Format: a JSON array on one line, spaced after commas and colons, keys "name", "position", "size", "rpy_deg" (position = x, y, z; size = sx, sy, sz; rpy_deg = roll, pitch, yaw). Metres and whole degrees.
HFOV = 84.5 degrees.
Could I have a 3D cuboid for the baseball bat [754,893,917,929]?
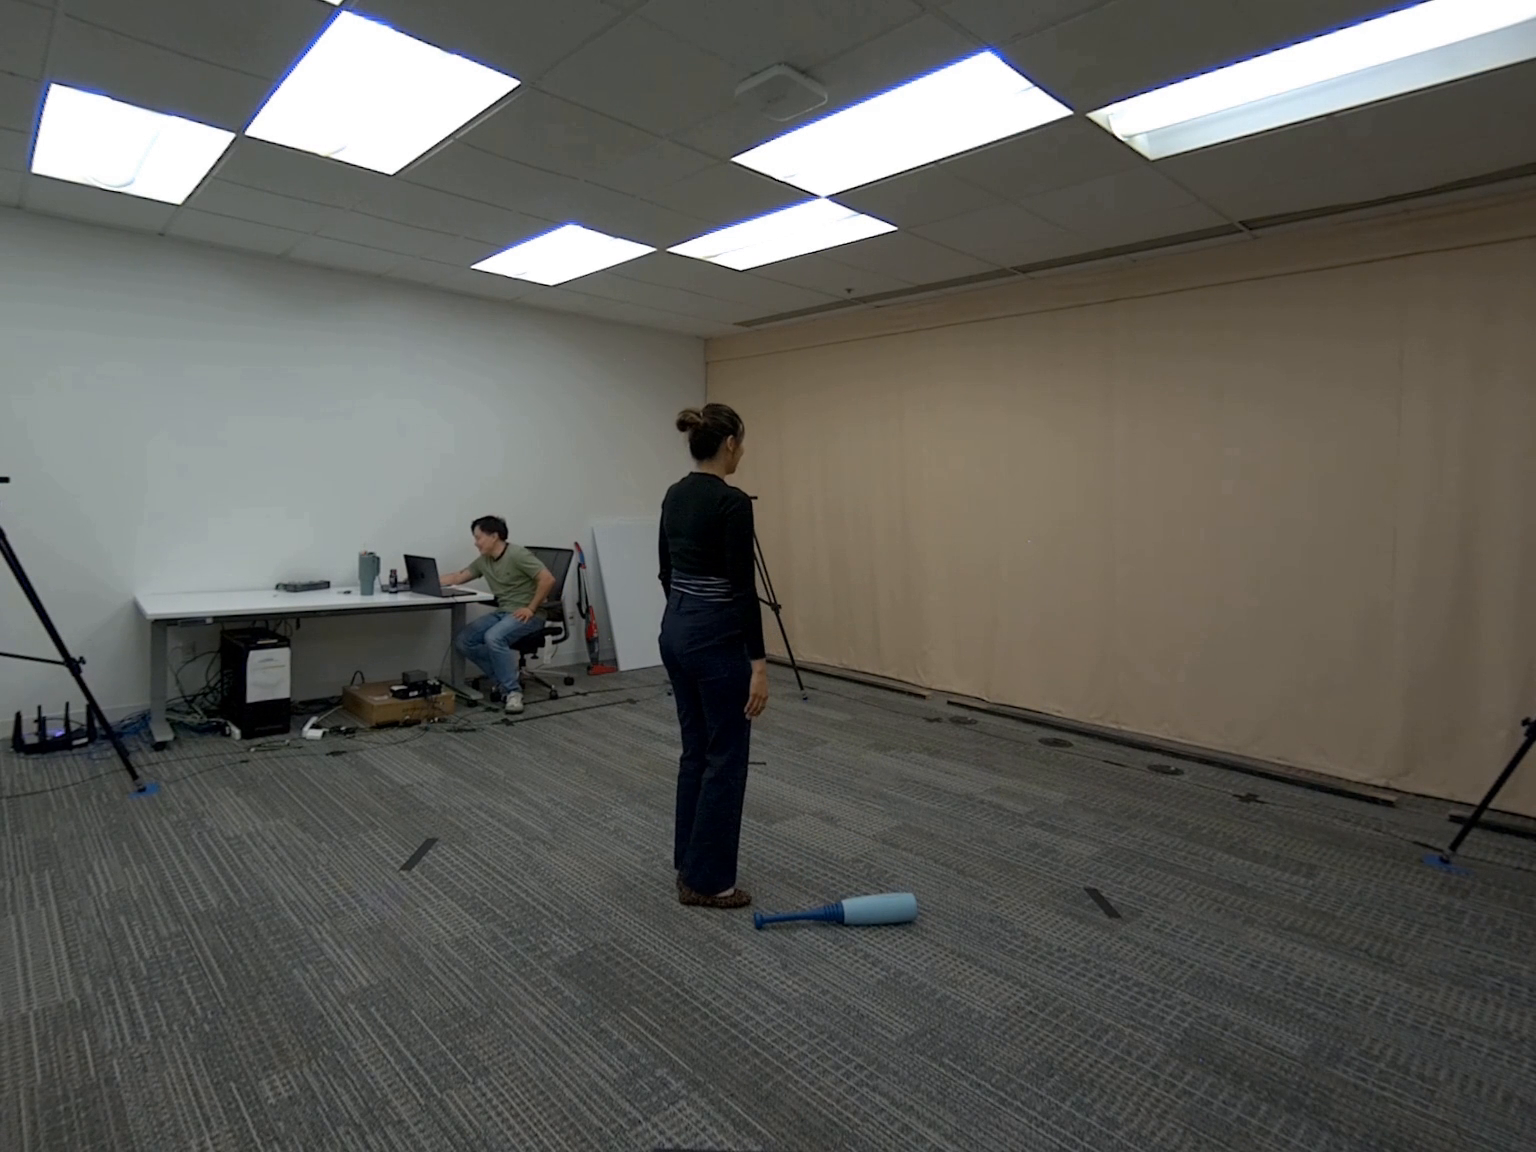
[{"name": "baseball bat", "position": [0.221, 1.110, 2.754], "size": [0.540, 0.089, 0.090], "rpy_deg": [-2, 5, -7]}]
